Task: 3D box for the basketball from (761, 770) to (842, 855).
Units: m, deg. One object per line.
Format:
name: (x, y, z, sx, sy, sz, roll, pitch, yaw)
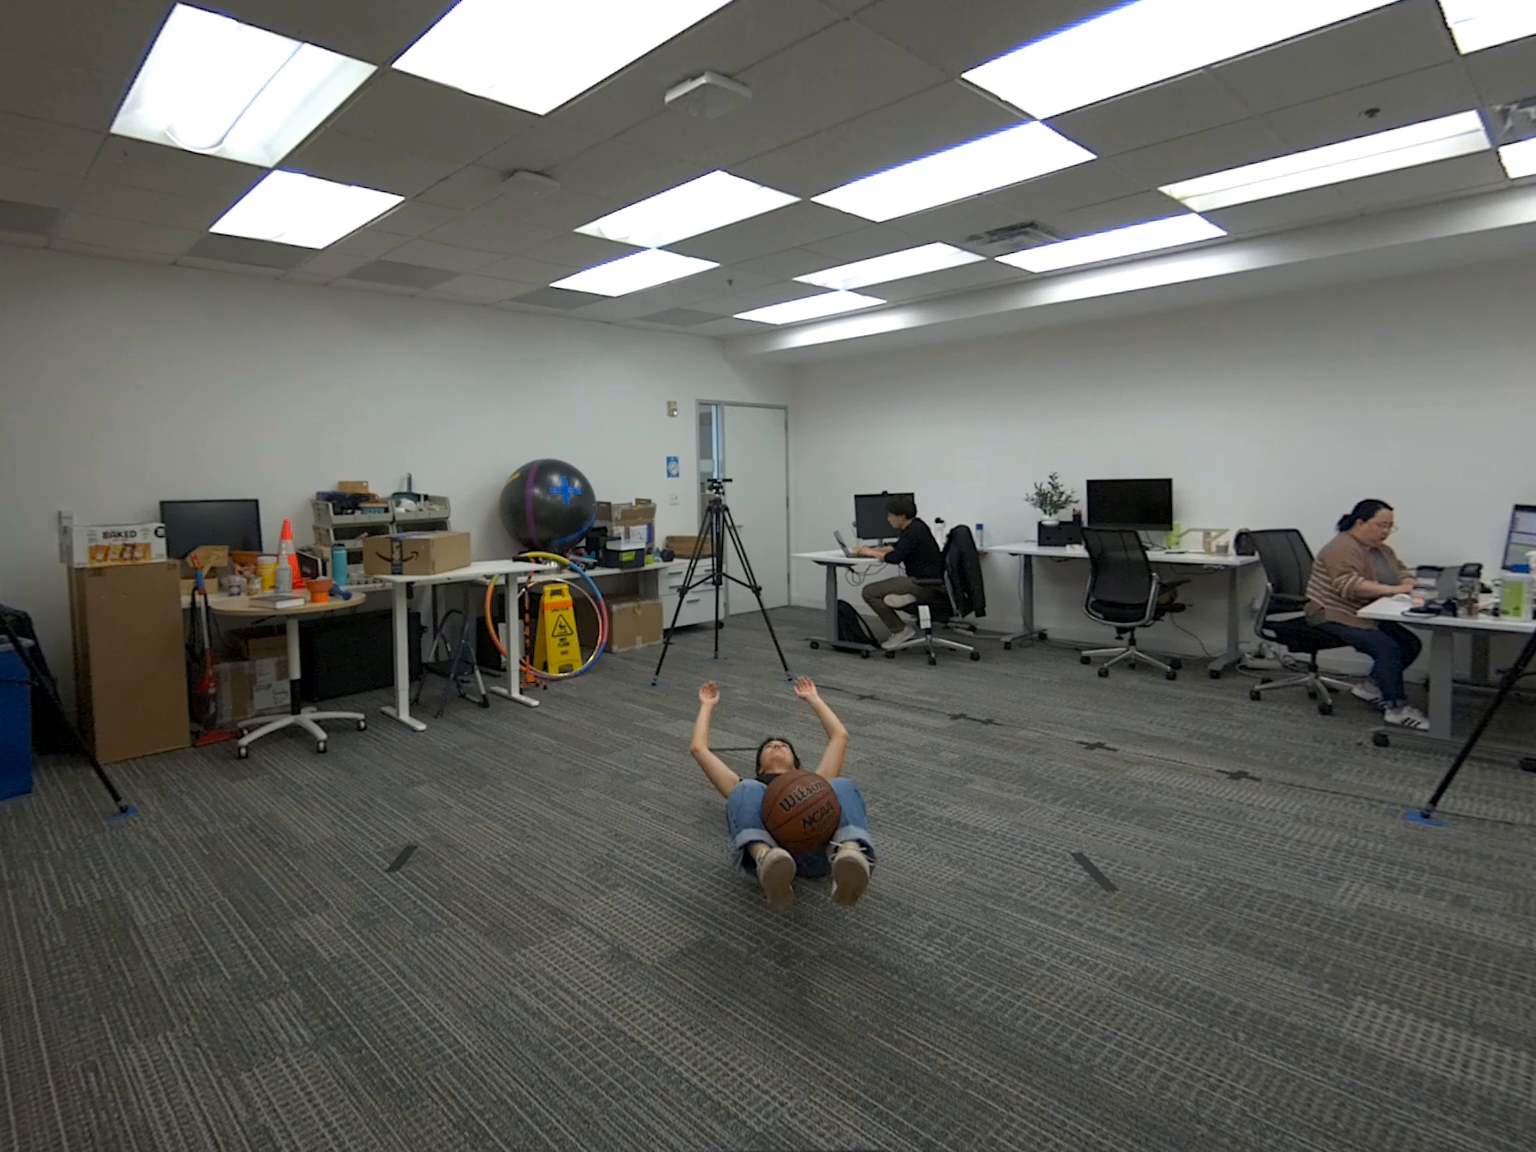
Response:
basketball: (0.103, 0.703, 2.575, 0.236, 0.235, 0.237, -1, 5, -2)
